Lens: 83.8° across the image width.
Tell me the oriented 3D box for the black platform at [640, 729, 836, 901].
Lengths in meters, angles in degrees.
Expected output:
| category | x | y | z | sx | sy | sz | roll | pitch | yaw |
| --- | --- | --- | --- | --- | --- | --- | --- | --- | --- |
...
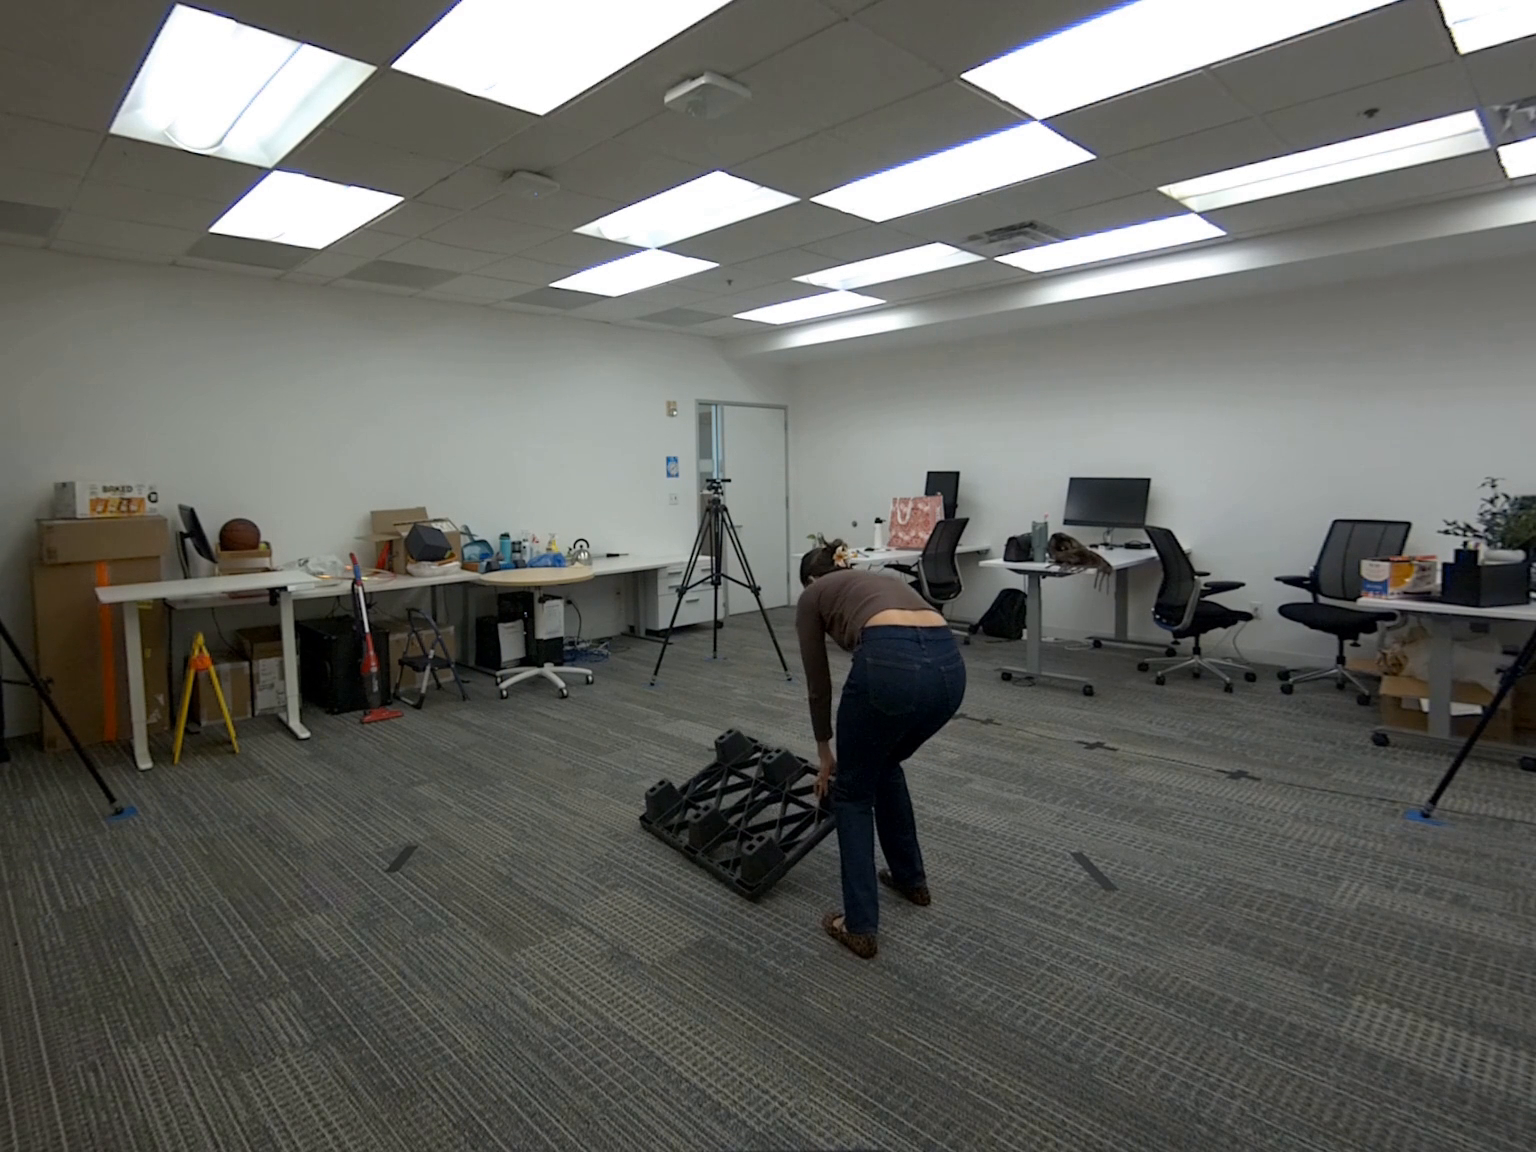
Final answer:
| category | x | y | z | sx | sy | sz | roll | pitch | yaw |
| --- | --- | --- | --- | --- | --- | --- | --- | --- | --- |
| black platform | -0.090 | 0.847 | 3.258 | 0.599 | 0.140 | 0.829 | -32 | 22 | -29 |
